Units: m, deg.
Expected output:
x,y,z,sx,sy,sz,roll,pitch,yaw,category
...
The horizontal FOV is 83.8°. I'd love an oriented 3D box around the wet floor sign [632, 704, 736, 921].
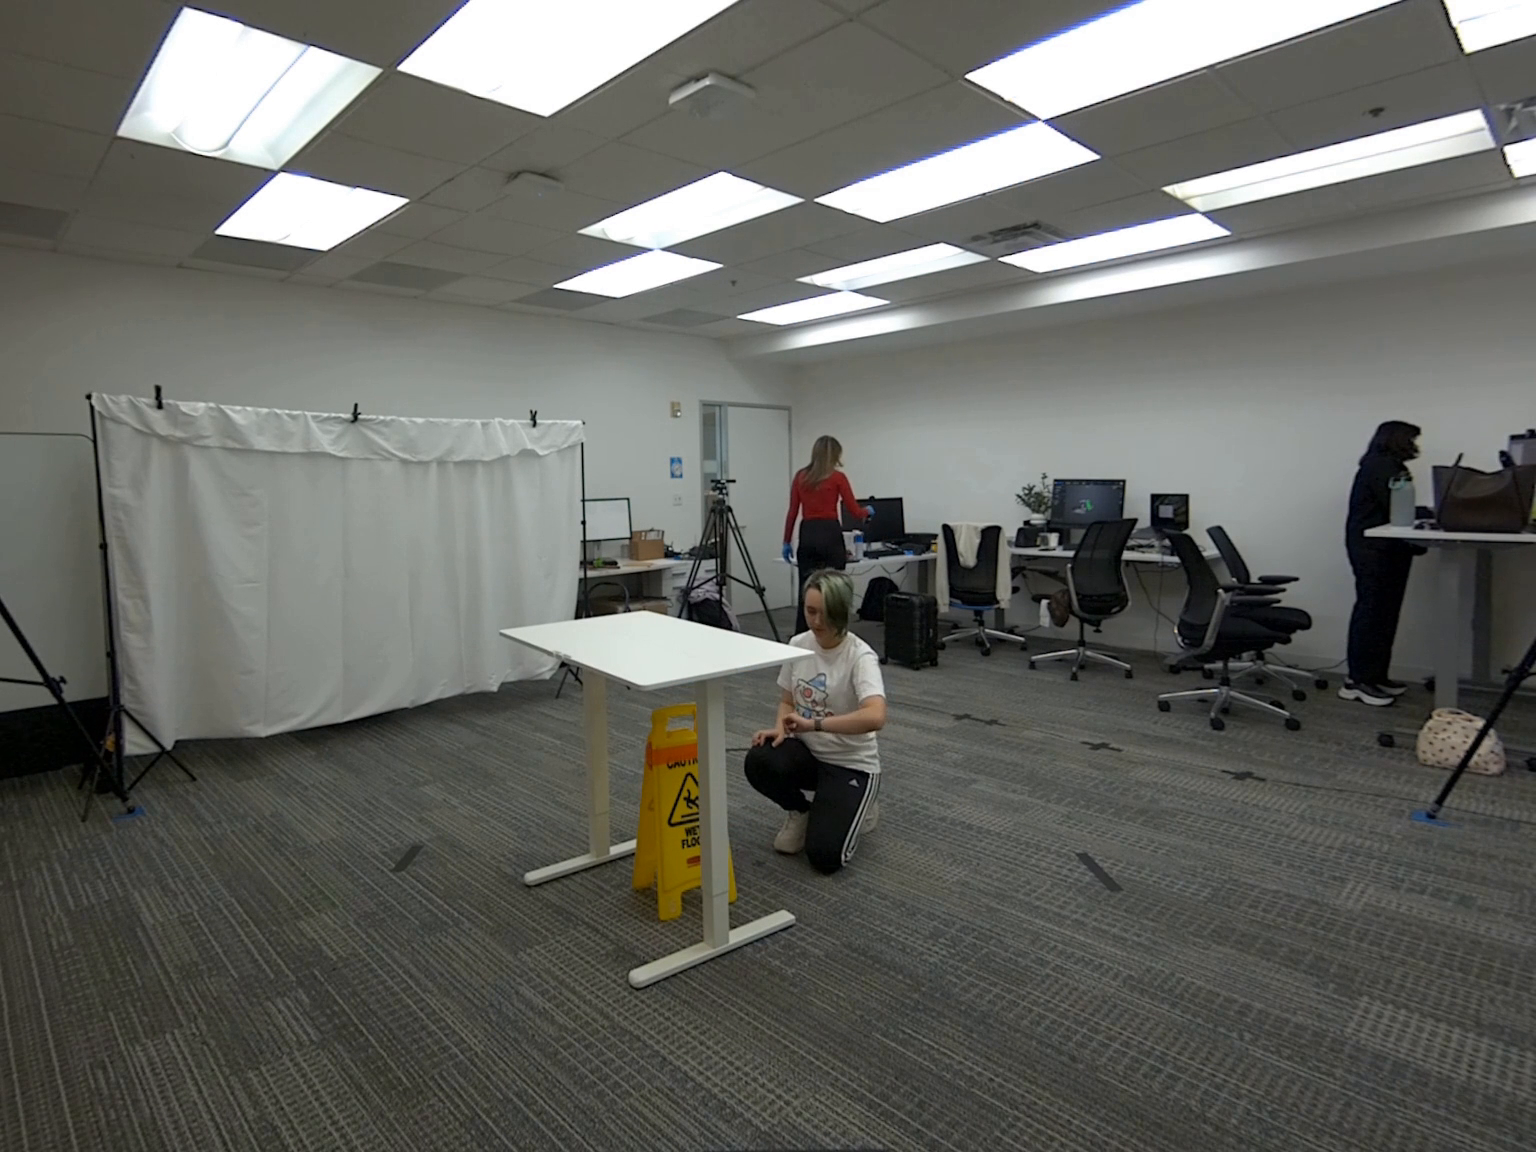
x,y,z,sx,sy,sz,roll,pitch,yaw,category
-0.289,0.753,2.863,0.276,0.644,0.297,-2,4,-28,wet floor sign
